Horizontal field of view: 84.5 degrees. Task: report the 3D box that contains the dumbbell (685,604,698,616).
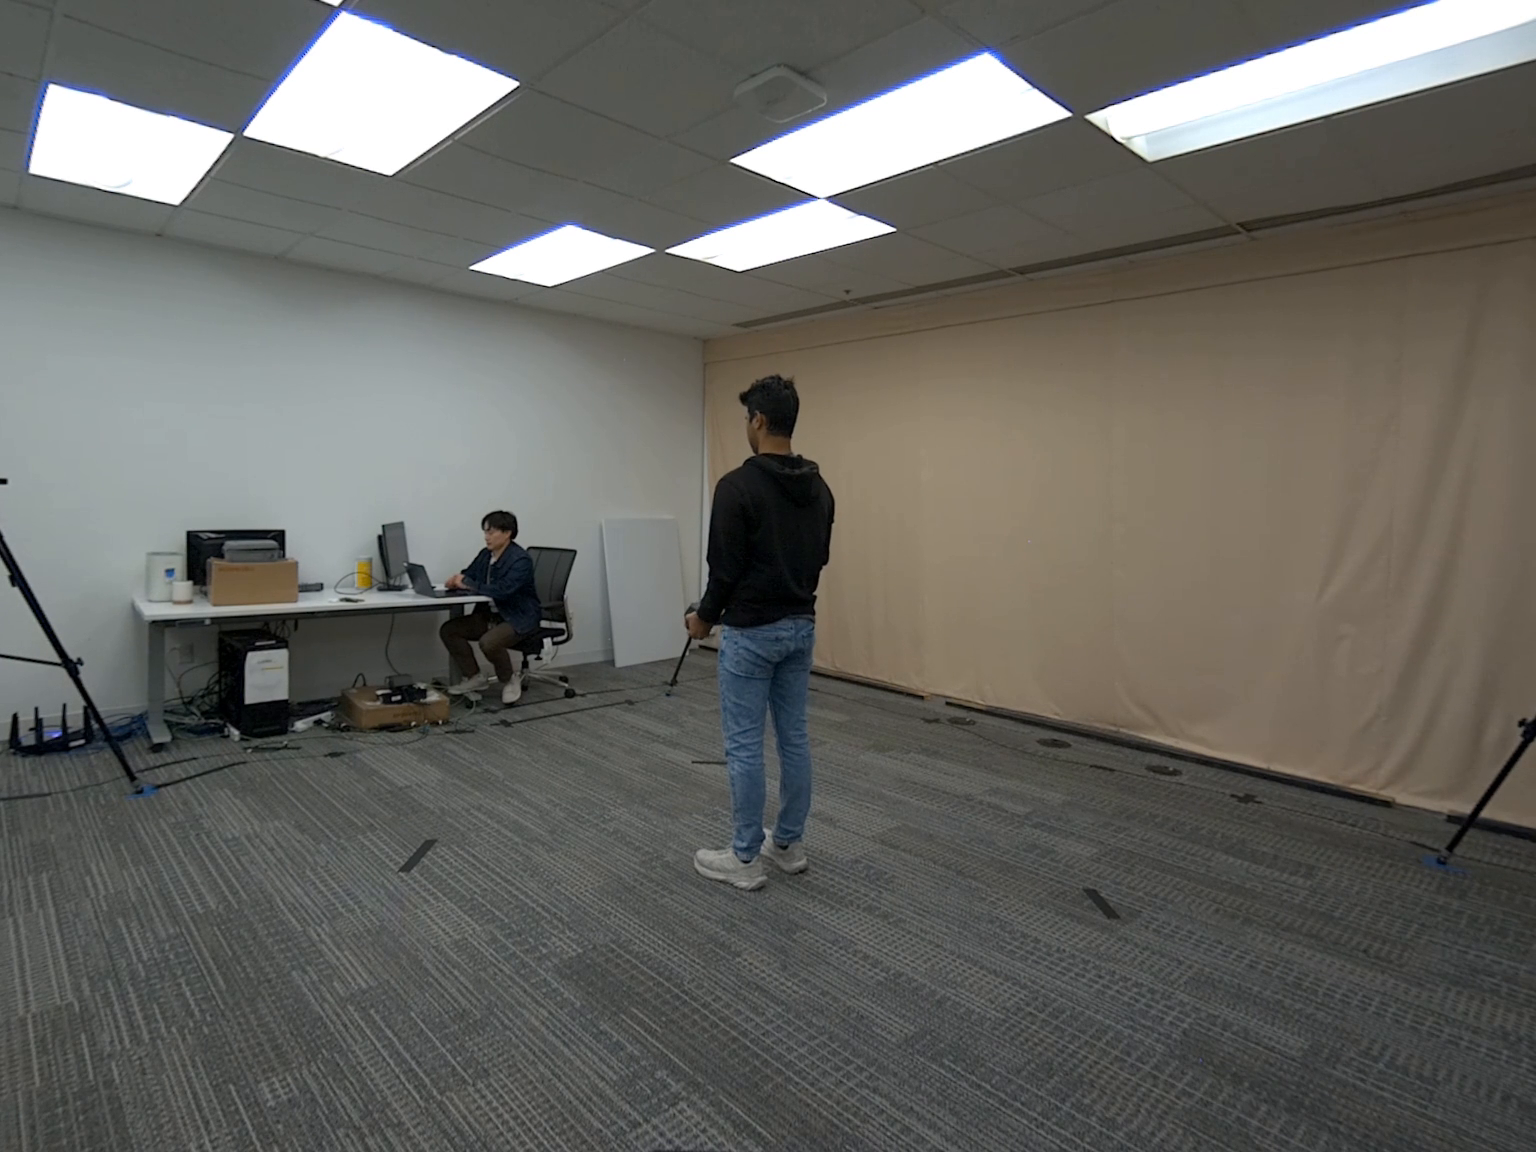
[{"bbox_3d":[-0.182,0.144,3.285,0.286,0.124,0.110,1,-11,-40],"label":"dumbbell"}]
